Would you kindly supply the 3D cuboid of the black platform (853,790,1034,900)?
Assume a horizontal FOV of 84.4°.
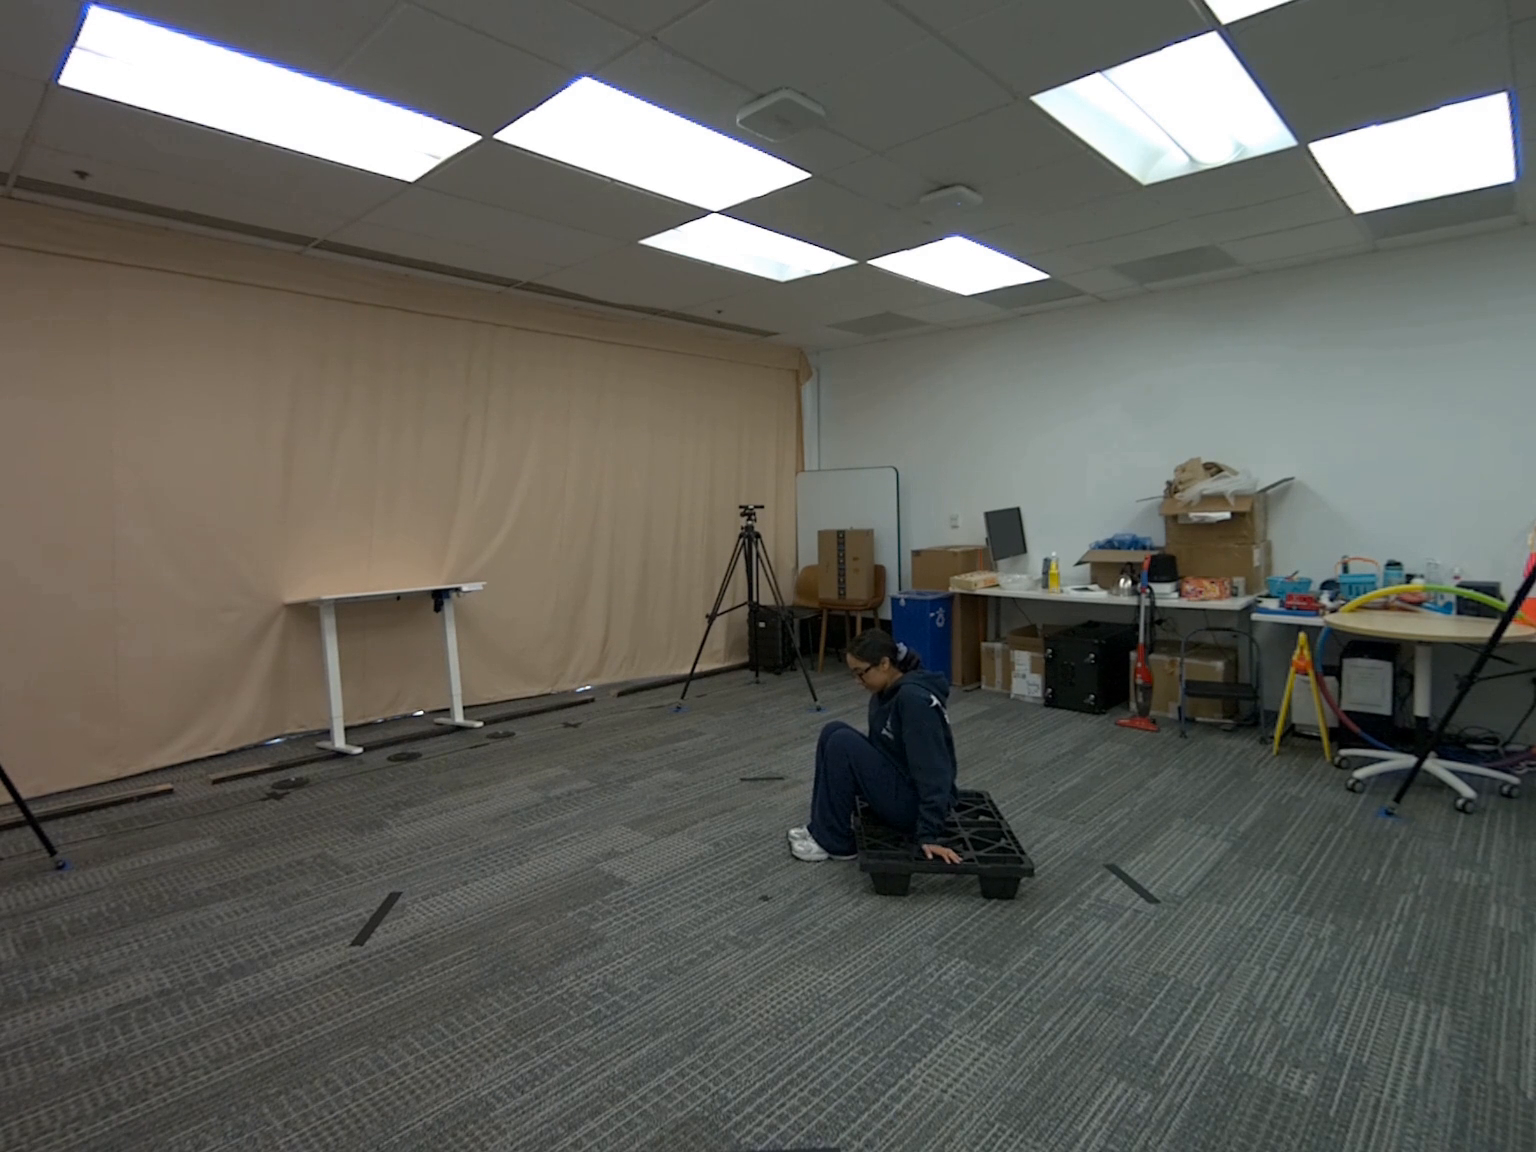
[{"bbox_3d":[0.651,1.033,3.315,0.609,0.143,0.803,0,5,4],"label":"black platform"}]
